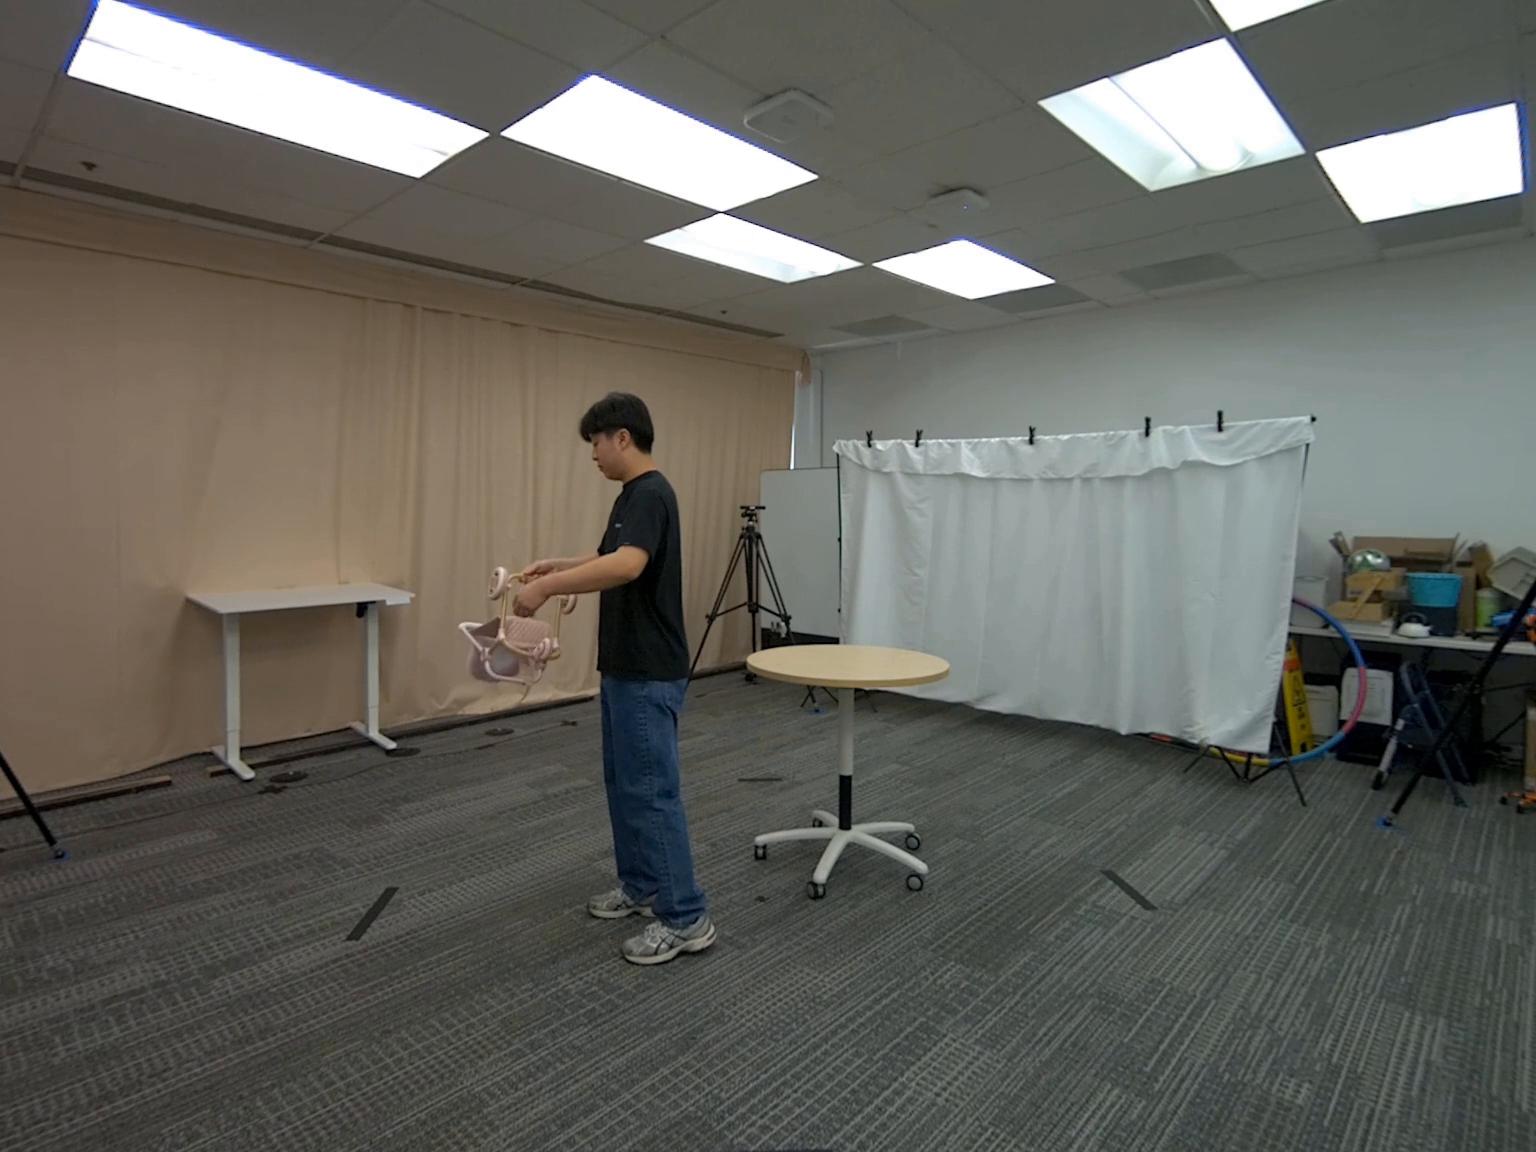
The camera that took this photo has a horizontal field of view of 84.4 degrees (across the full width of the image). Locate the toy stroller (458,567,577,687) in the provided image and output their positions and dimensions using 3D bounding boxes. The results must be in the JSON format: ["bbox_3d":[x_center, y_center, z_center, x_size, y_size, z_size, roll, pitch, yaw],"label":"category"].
[{"bbox_3d":[-0.840,0.212,2.796,0.272,0.348,0.542,13,-36,-39],"label":"toy stroller"}]
